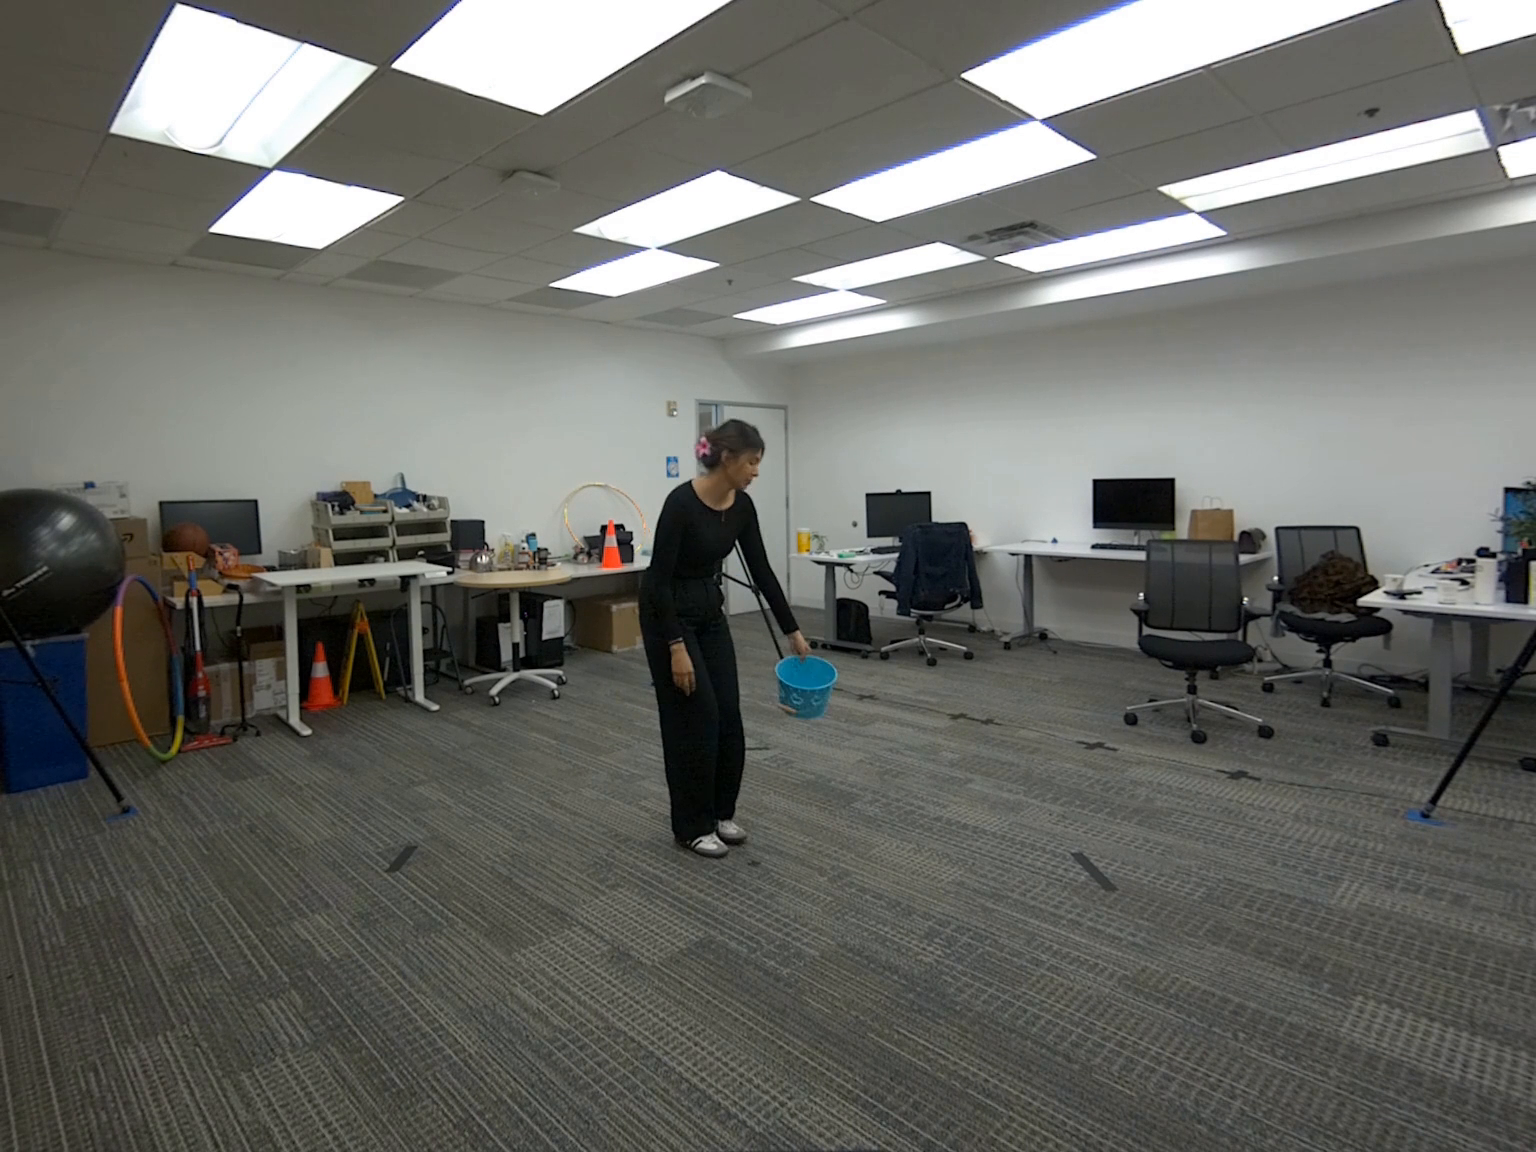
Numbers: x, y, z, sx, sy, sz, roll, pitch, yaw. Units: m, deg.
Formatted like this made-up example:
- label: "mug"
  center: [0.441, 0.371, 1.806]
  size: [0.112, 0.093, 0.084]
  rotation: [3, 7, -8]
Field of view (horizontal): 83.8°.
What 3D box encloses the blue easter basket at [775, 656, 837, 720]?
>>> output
- label: "blue easter basket"
  center: [0.130, 0.431, 3.230]
  size: [0.243, 0.153, 0.248]
  rotation: [2, 22, -3]
